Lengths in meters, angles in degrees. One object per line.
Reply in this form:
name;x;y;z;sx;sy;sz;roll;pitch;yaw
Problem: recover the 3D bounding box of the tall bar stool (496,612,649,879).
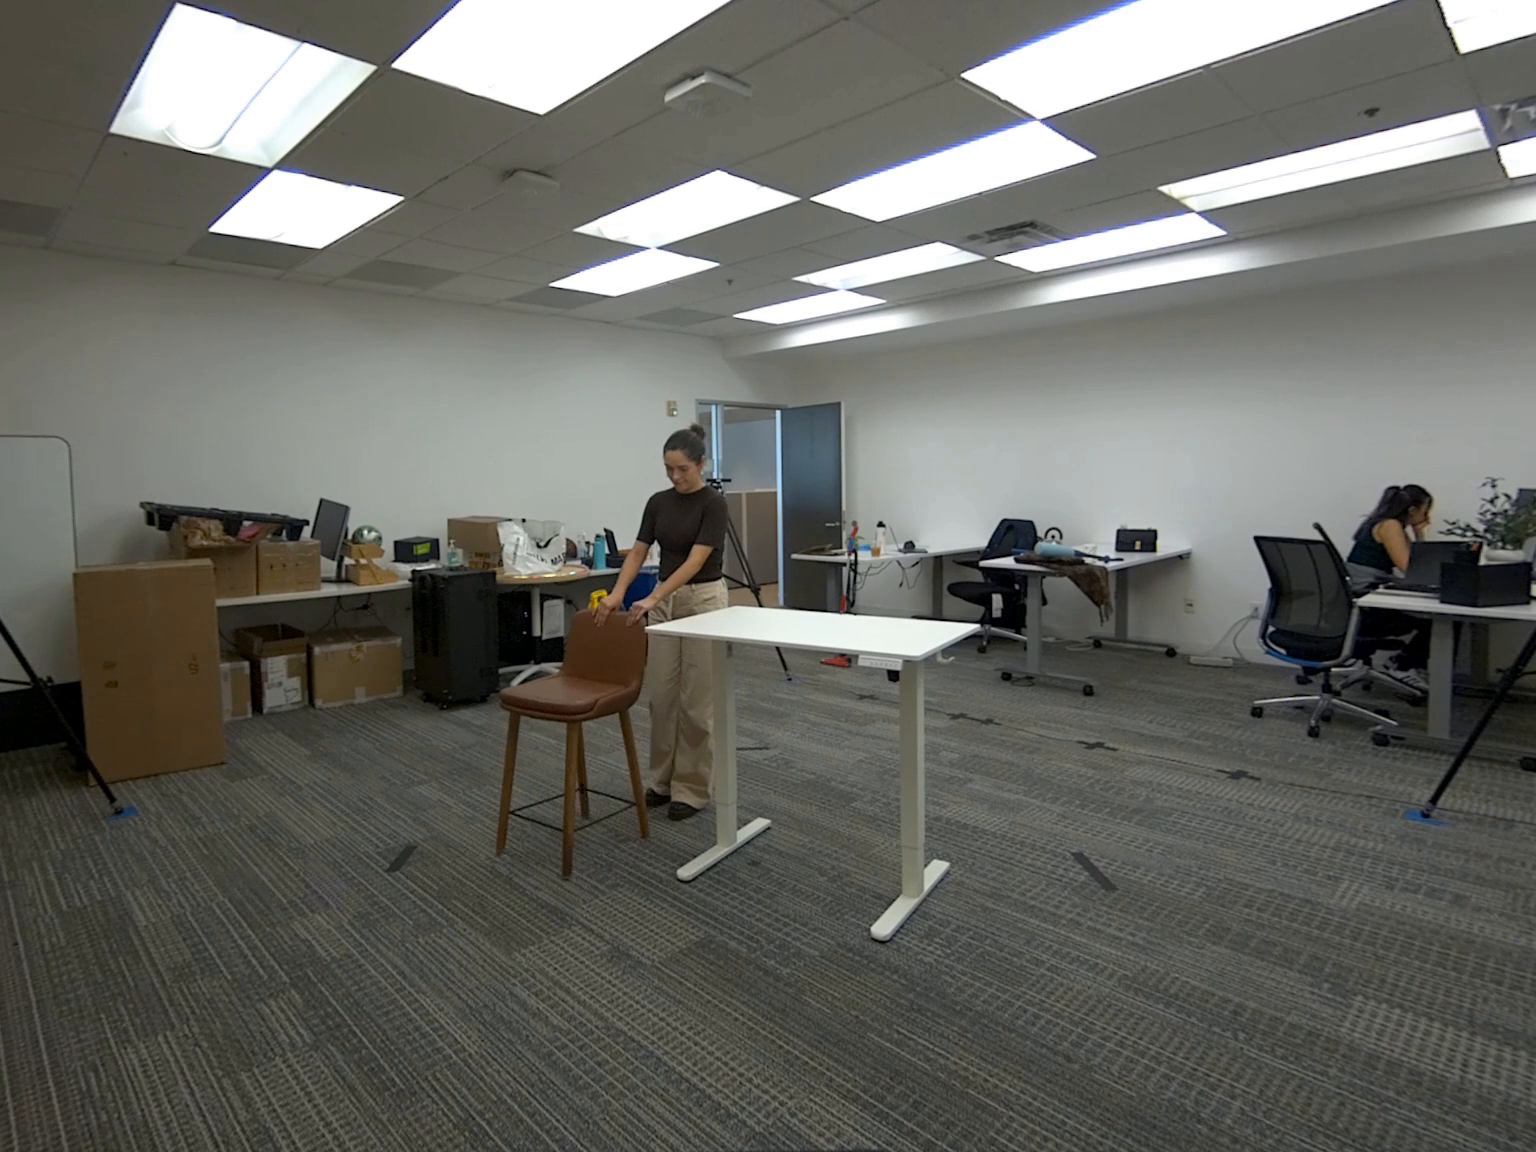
tall bar stool;-0.740;0.598;3.282;0.469;0.889;0.455;2;2;36
